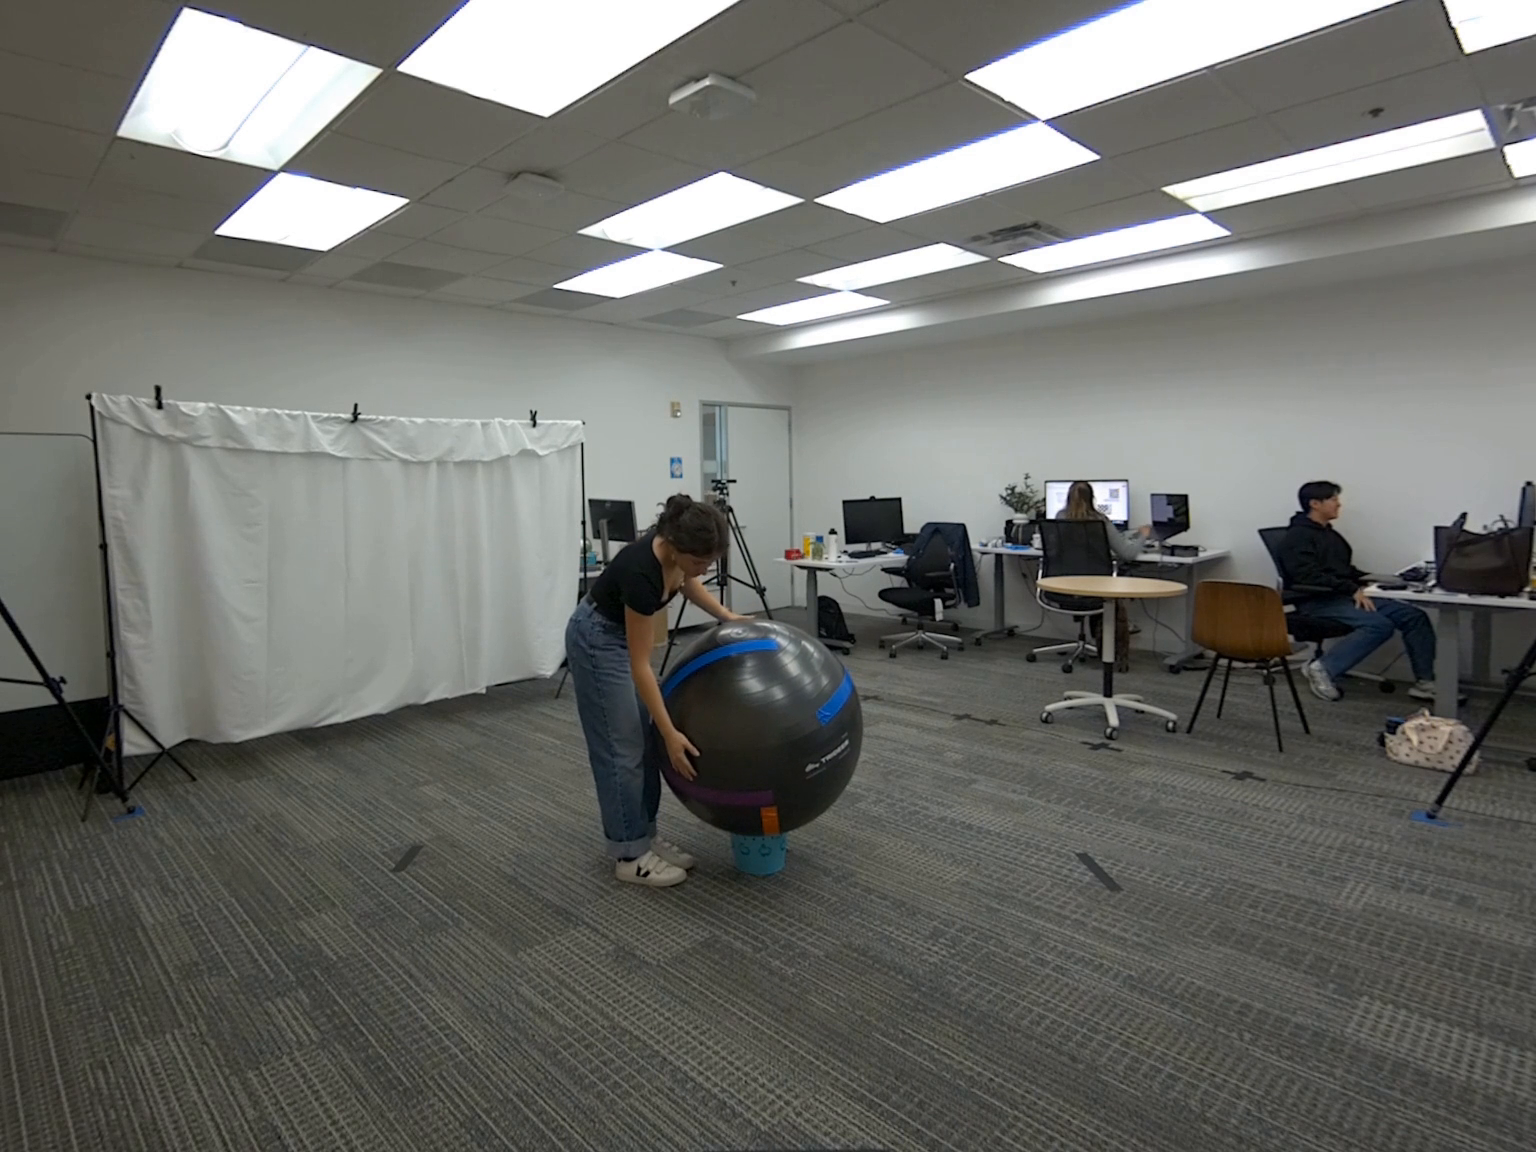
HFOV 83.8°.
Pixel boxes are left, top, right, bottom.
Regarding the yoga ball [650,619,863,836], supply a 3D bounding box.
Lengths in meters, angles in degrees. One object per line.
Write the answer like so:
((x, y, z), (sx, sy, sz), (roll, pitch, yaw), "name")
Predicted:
((-0.036, 0.544, 3.064), (0.757, 0.755, 0.762), (-1, 5, -2), "yoga ball")
